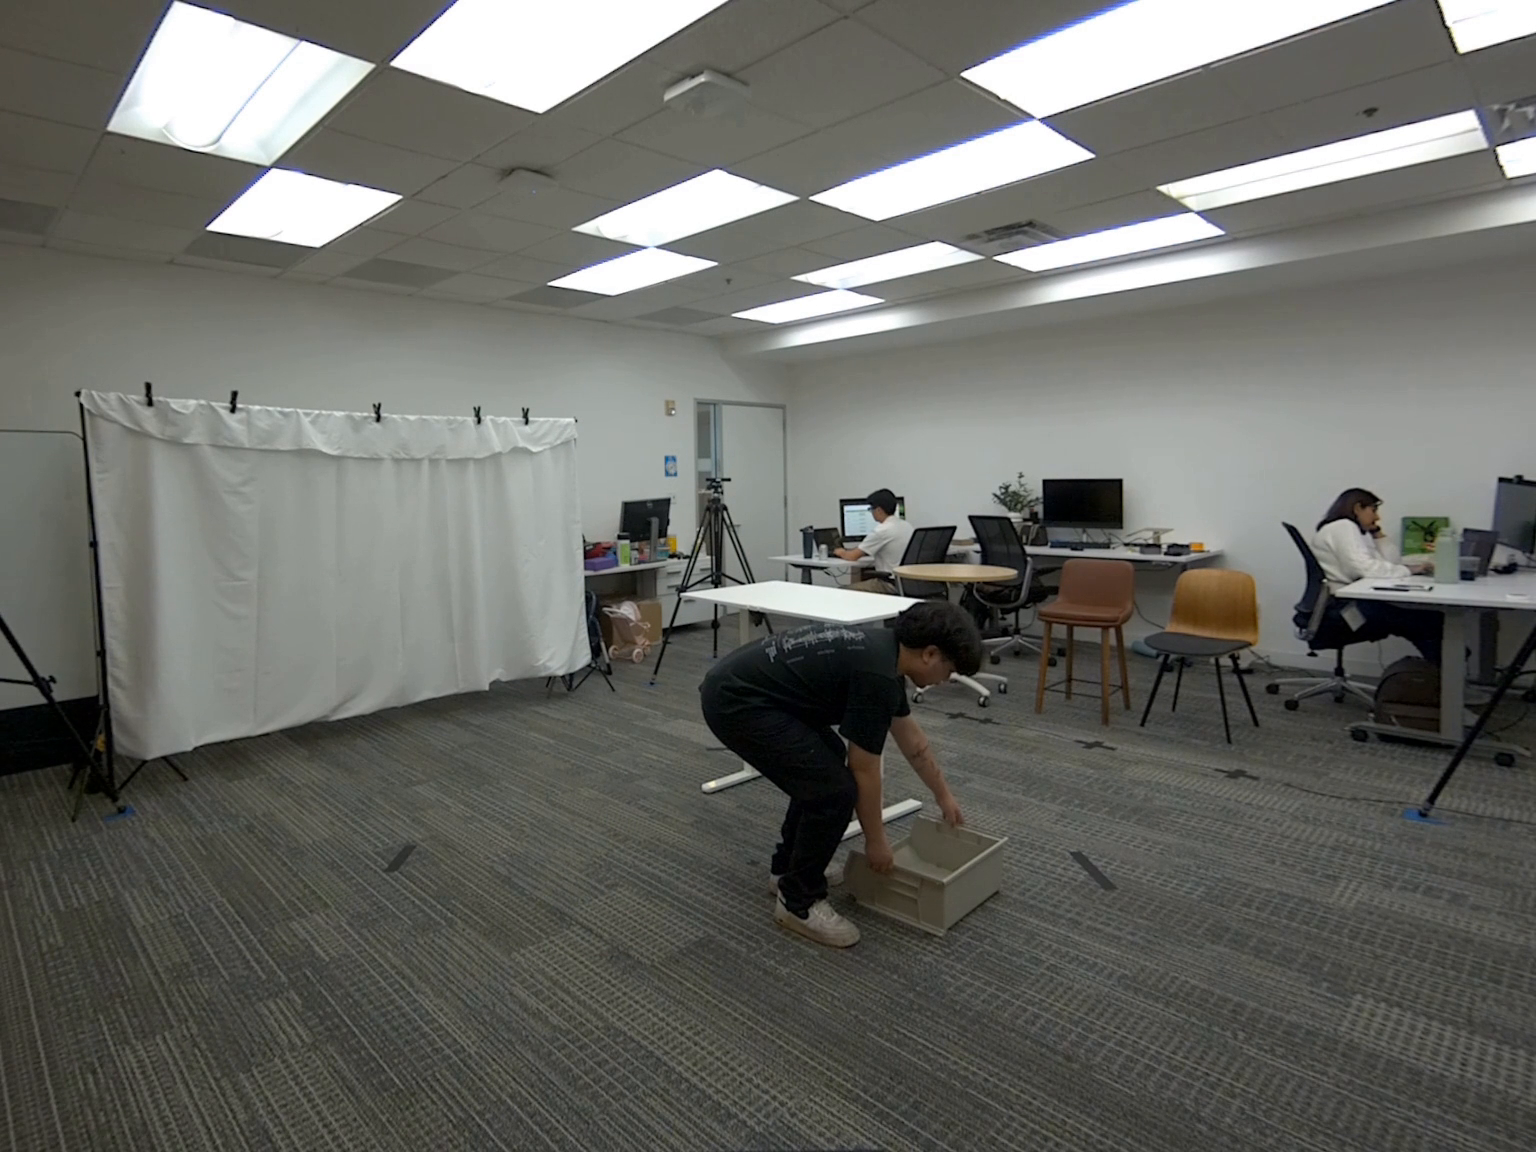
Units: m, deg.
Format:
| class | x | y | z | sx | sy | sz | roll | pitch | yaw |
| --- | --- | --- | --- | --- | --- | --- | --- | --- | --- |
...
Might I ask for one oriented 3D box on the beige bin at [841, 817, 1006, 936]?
| class | x | y | z | sx | sy | sz | roll | pitch | yaw |
| --- | --- | --- | --- | --- | --- | --- | --- | --- | --- |
| beige bin | 0.519 | 0.968 | 2.842 | 0.389 | 0.188 | 0.411 | 5 | 8 | 42 |
